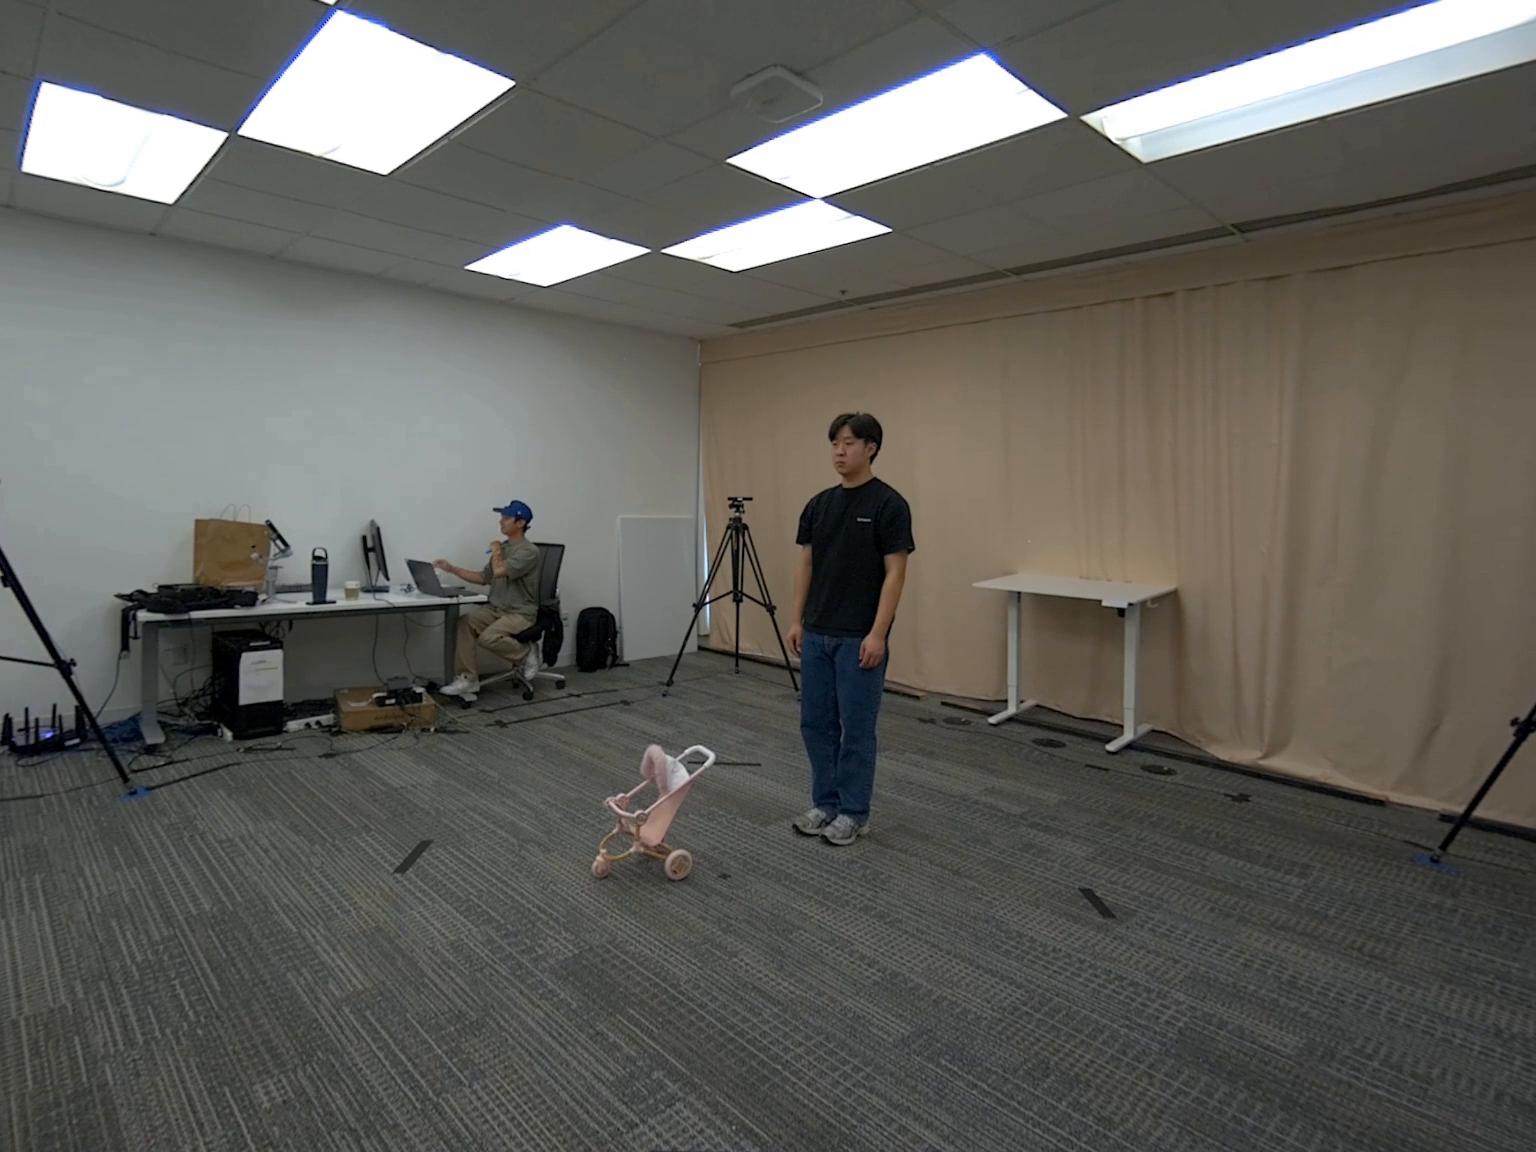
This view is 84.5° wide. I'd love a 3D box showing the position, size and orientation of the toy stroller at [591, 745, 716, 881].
[{"bbox_3d":[-0.448,0.875,3.140,0.334,0.536,0.287,17,-3,-23],"label":"toy stroller"}]
